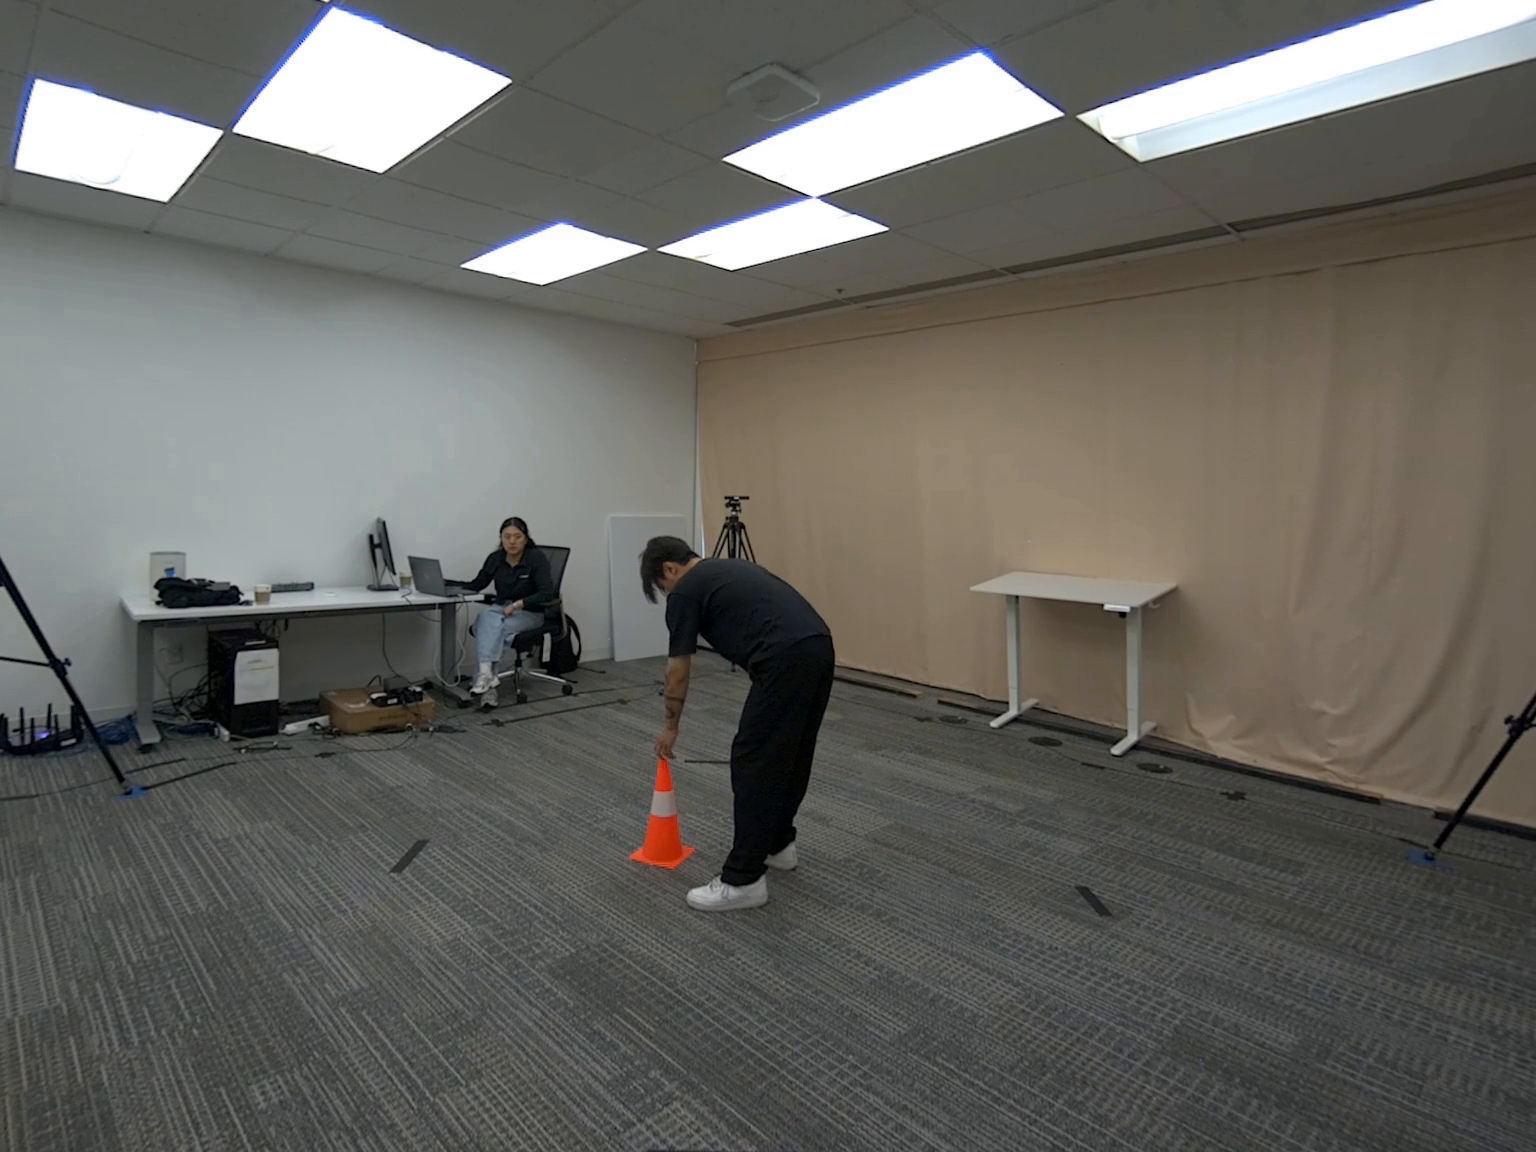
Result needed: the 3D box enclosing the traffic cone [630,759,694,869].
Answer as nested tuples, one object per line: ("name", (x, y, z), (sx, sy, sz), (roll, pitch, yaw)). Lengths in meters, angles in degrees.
("traffic cone", (-0.407, 0.895, 3.270), (0.207, 0.383, 0.201), (4, 3, 24))
